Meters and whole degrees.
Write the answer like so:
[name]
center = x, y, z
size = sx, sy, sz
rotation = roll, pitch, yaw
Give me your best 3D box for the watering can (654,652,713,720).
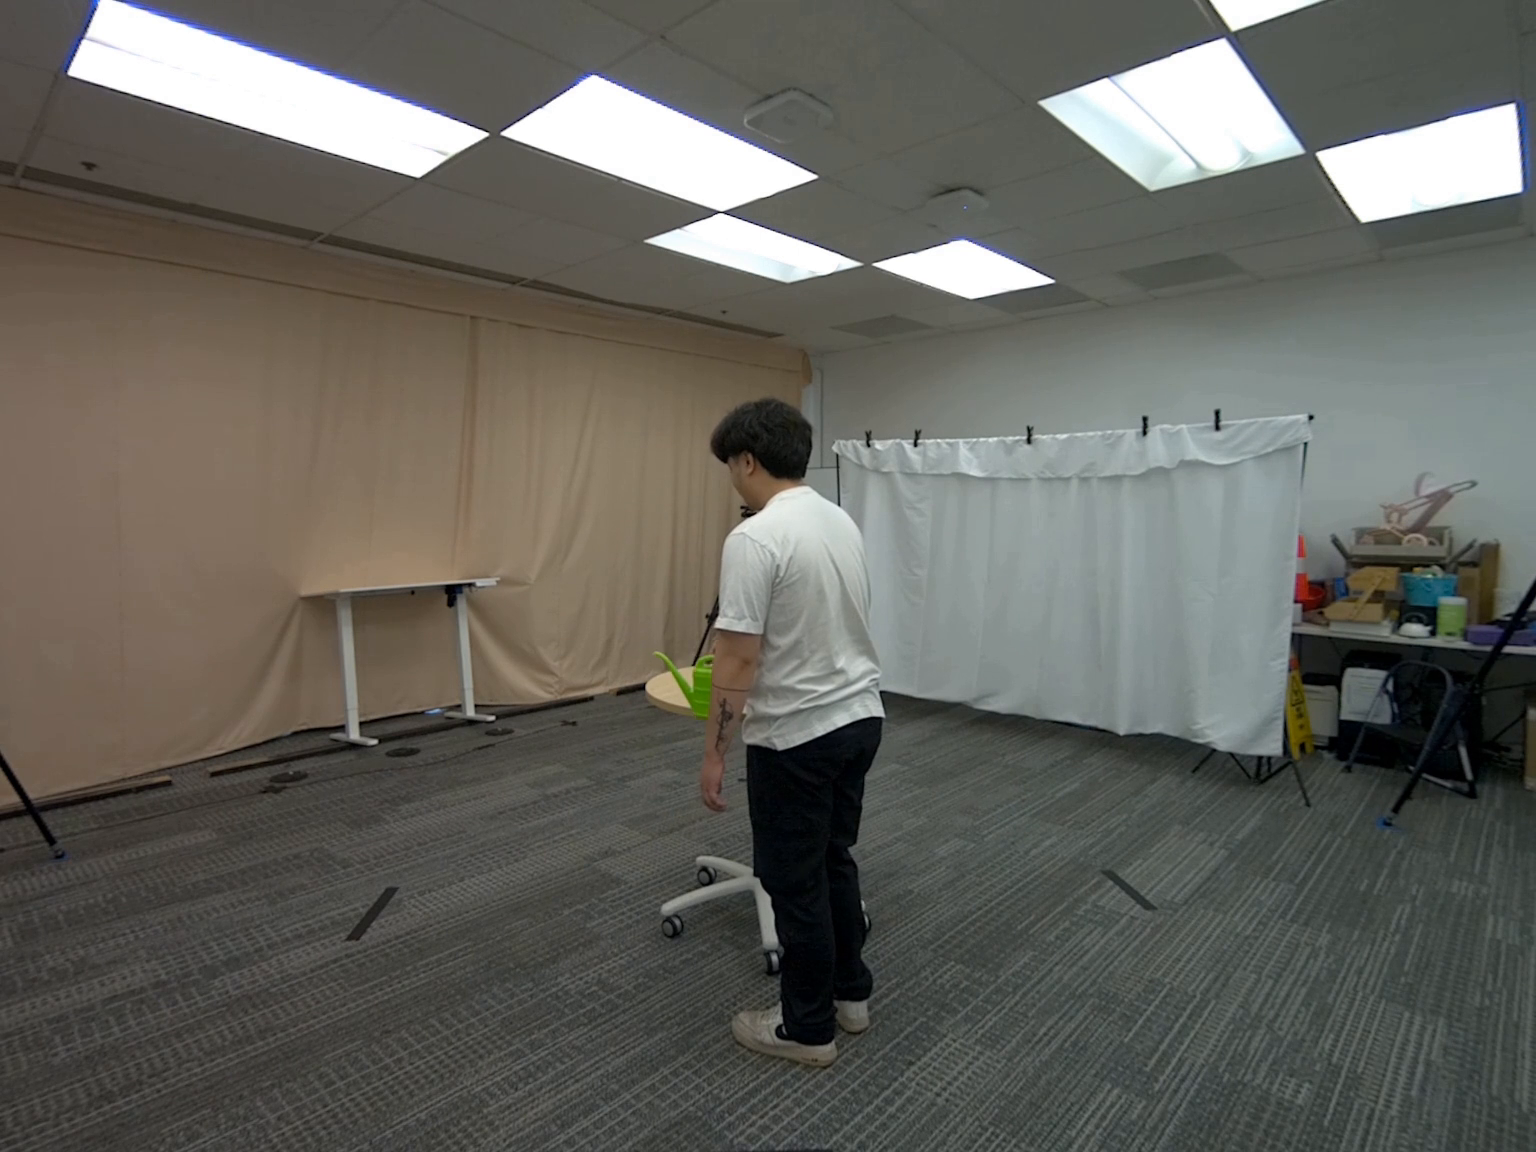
[watering can]
center = -0.188, 0.308, 2.393
size = 0.284, 0.176, 0.096
rotation = 3, 3, 19
